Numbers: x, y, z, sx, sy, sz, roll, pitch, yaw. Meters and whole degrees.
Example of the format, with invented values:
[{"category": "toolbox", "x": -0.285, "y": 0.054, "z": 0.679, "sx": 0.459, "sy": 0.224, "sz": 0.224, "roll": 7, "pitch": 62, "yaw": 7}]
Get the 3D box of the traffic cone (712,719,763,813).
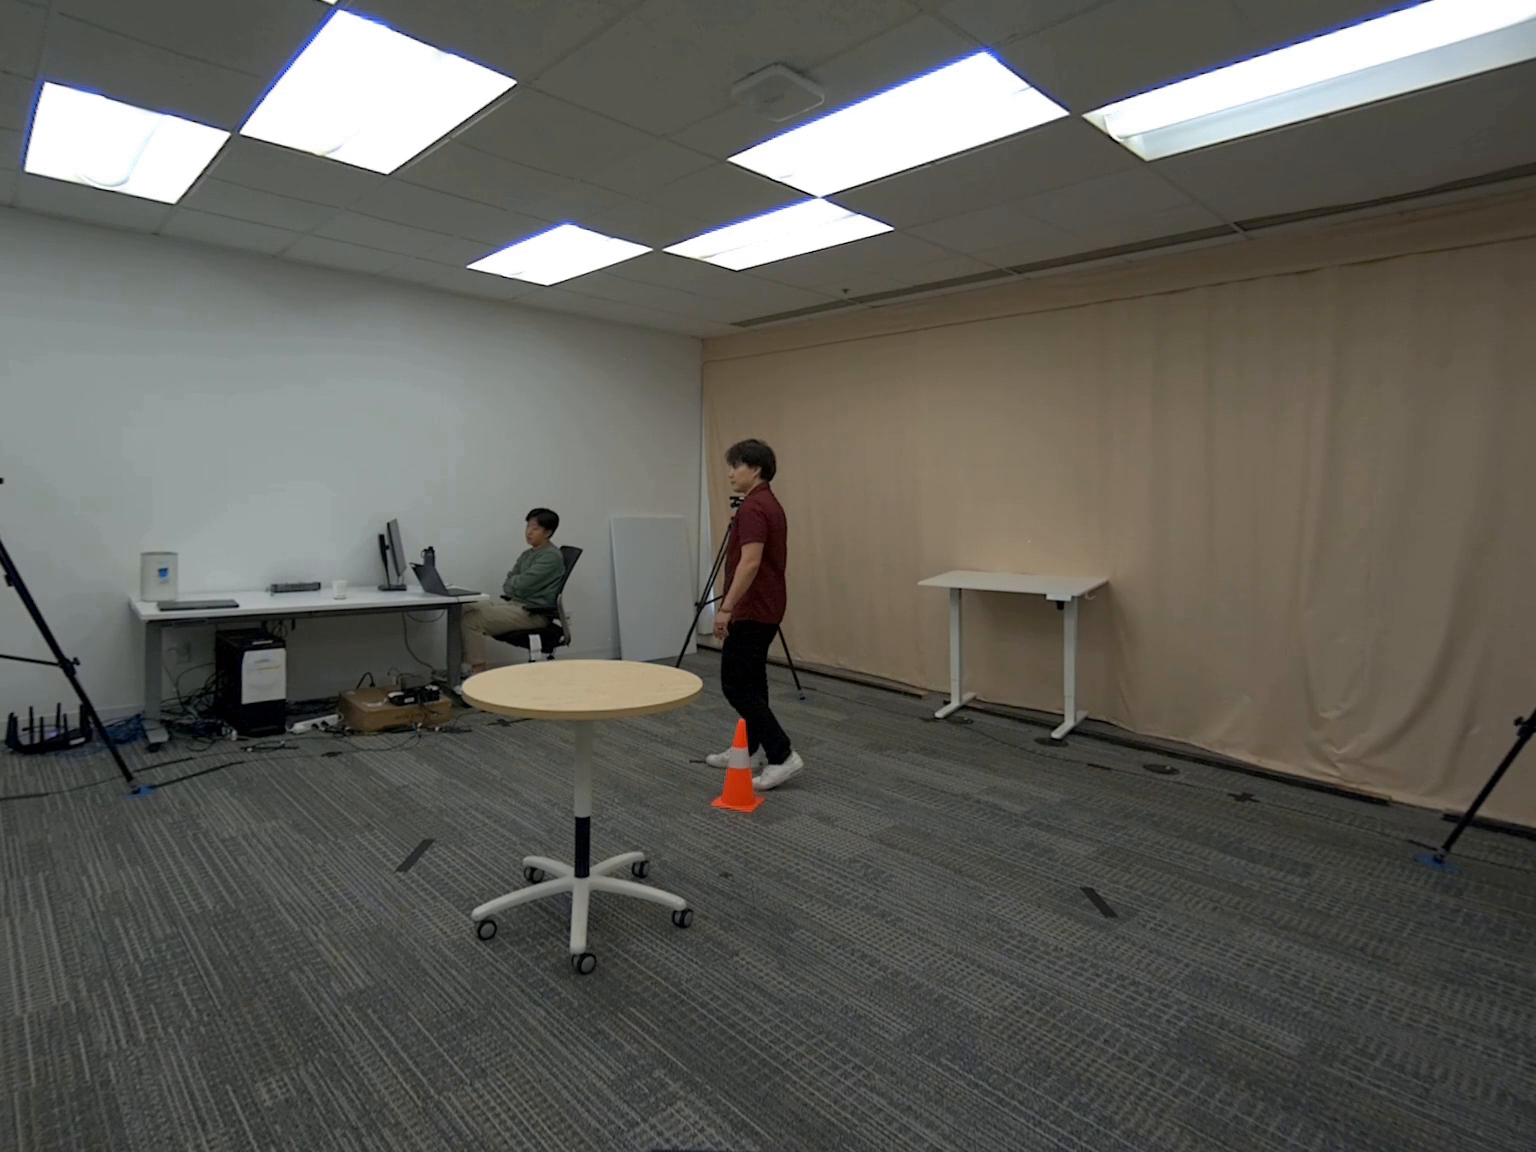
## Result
[{"category": "traffic cone", "x": -0.145, "y": 0.851, "z": 3.874, "sx": 0.209, "sy": 0.383, "sz": 0.199, "roll": 3, "pitch": 1, "yaw": 26}]
